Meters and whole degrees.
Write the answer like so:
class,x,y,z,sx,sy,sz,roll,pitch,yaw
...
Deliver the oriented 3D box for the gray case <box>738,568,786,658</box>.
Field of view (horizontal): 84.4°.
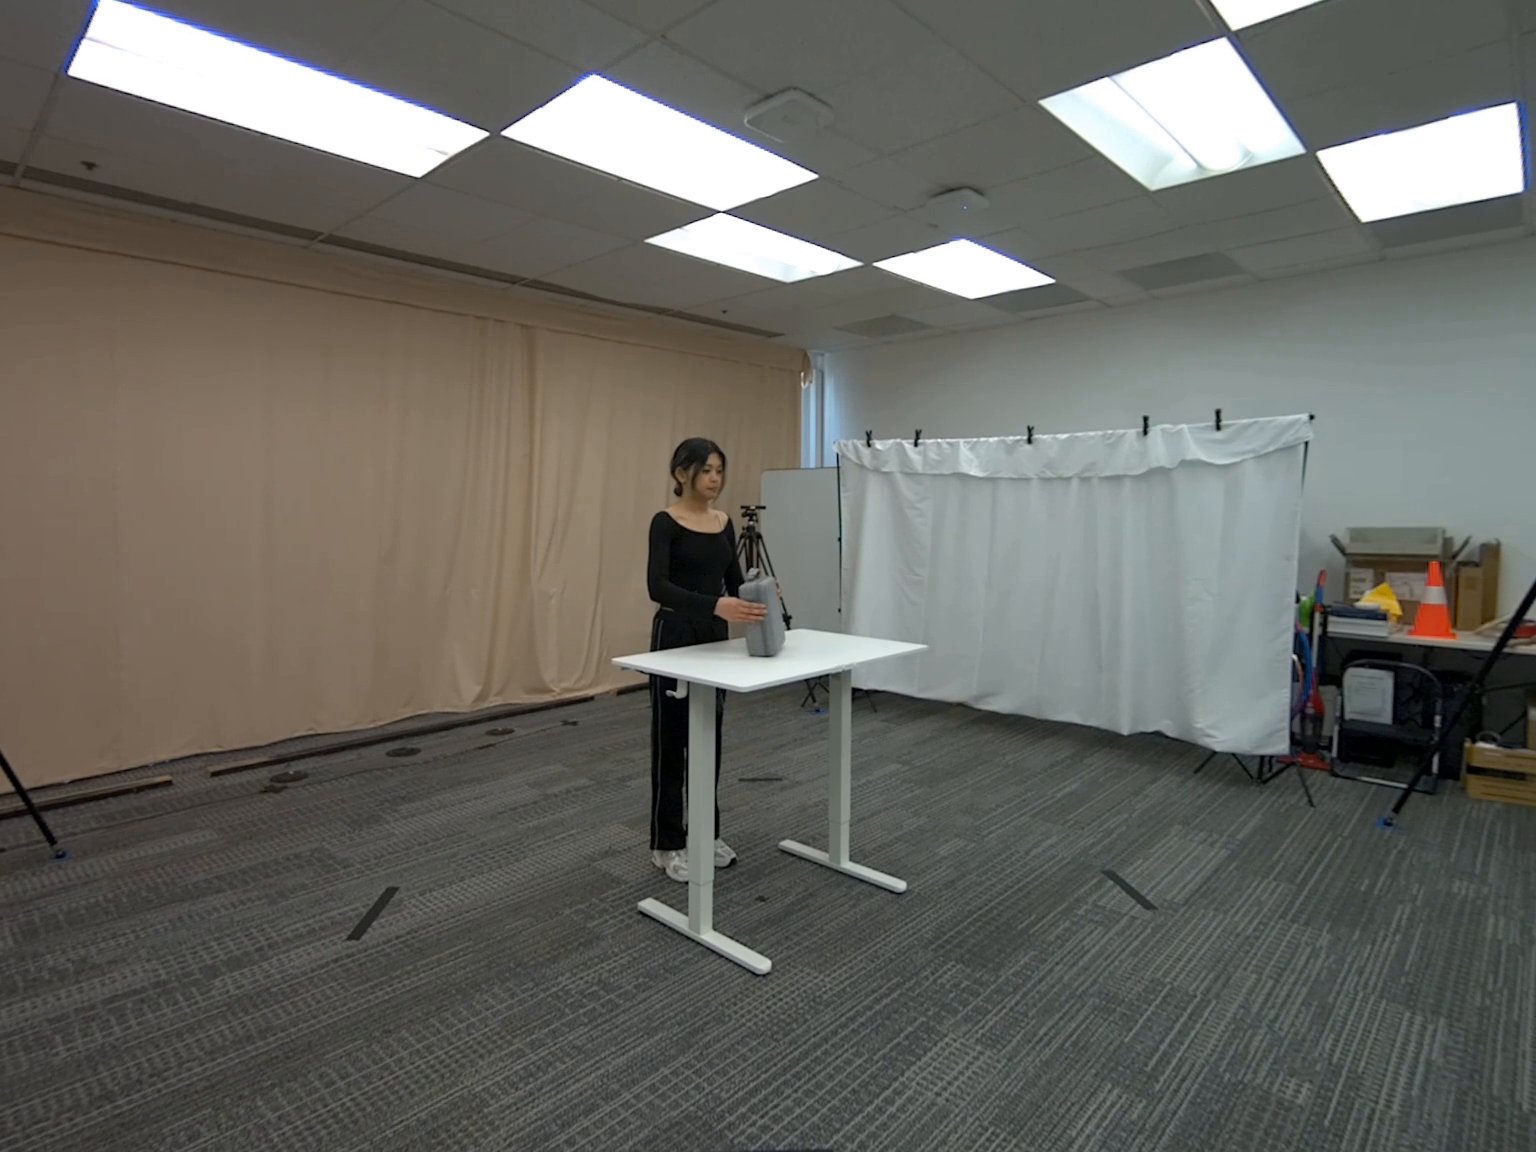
class,x,y,z,sx,sy,sz,roll,pitch,yaw
gray case,-0.015,0.135,2.925,0.105,0.260,0.254,-7,3,10
